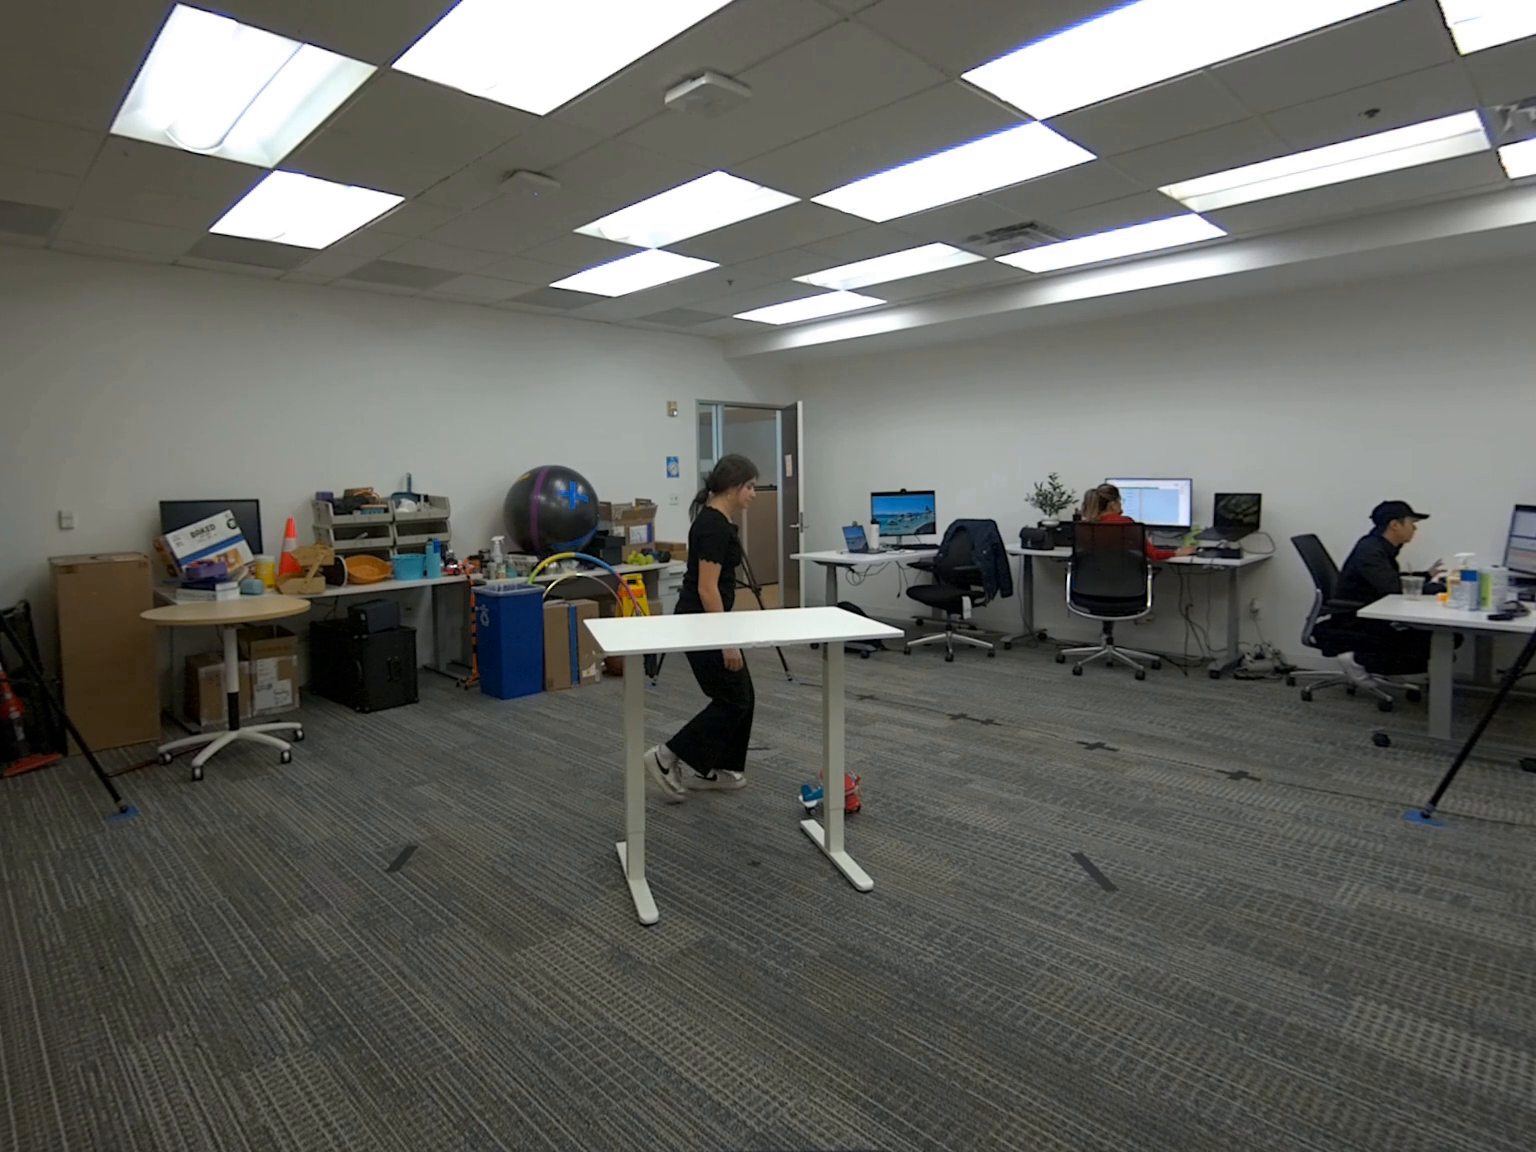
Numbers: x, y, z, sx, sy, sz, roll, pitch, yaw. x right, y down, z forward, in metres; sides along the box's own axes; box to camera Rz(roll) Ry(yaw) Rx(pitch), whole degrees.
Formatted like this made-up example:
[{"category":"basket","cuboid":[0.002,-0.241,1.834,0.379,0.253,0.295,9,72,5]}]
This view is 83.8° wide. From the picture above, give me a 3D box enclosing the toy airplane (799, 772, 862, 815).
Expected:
[{"category":"toy airplane","cuboid":[0.273,0.913,3.561,0.252,0.156,0.259,-4,6,-44]}]
